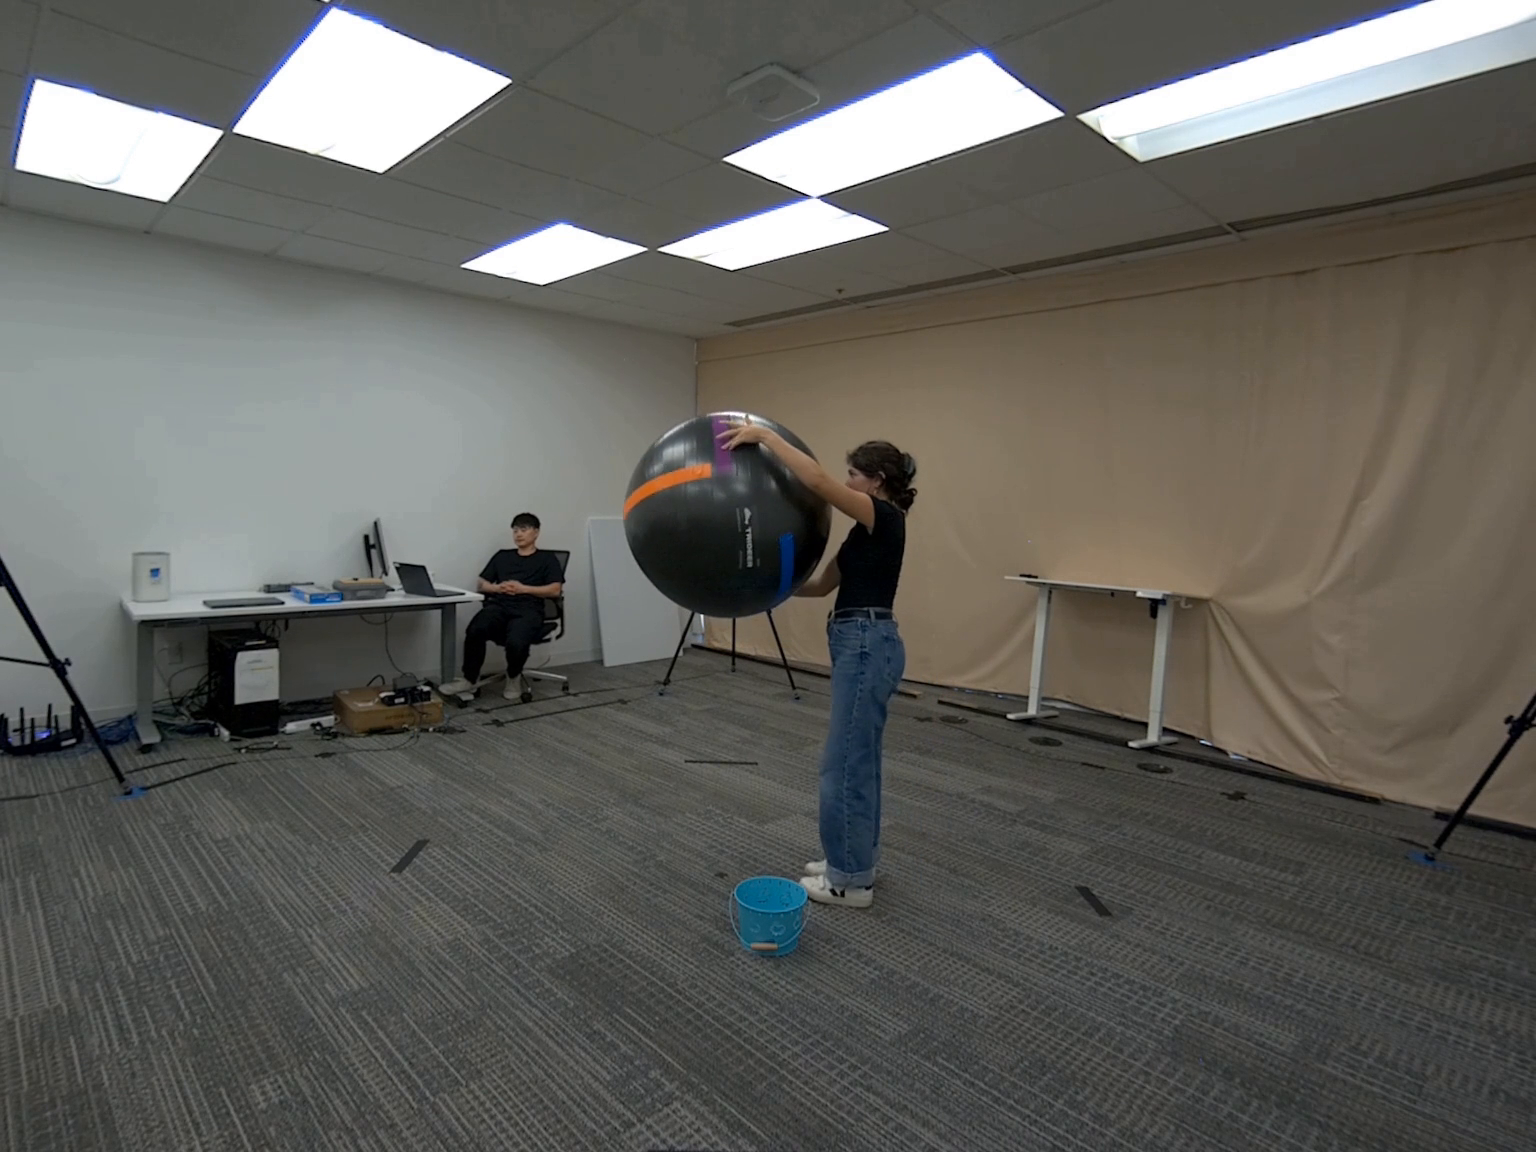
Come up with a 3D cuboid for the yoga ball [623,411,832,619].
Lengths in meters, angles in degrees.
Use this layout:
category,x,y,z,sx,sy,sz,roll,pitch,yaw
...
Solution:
category,x,y,z,sx,sy,sz,roll,pitch,yaw
yoga ball,-0.152,-0.222,3.091,0.757,0.756,0.761,1,4,-1
